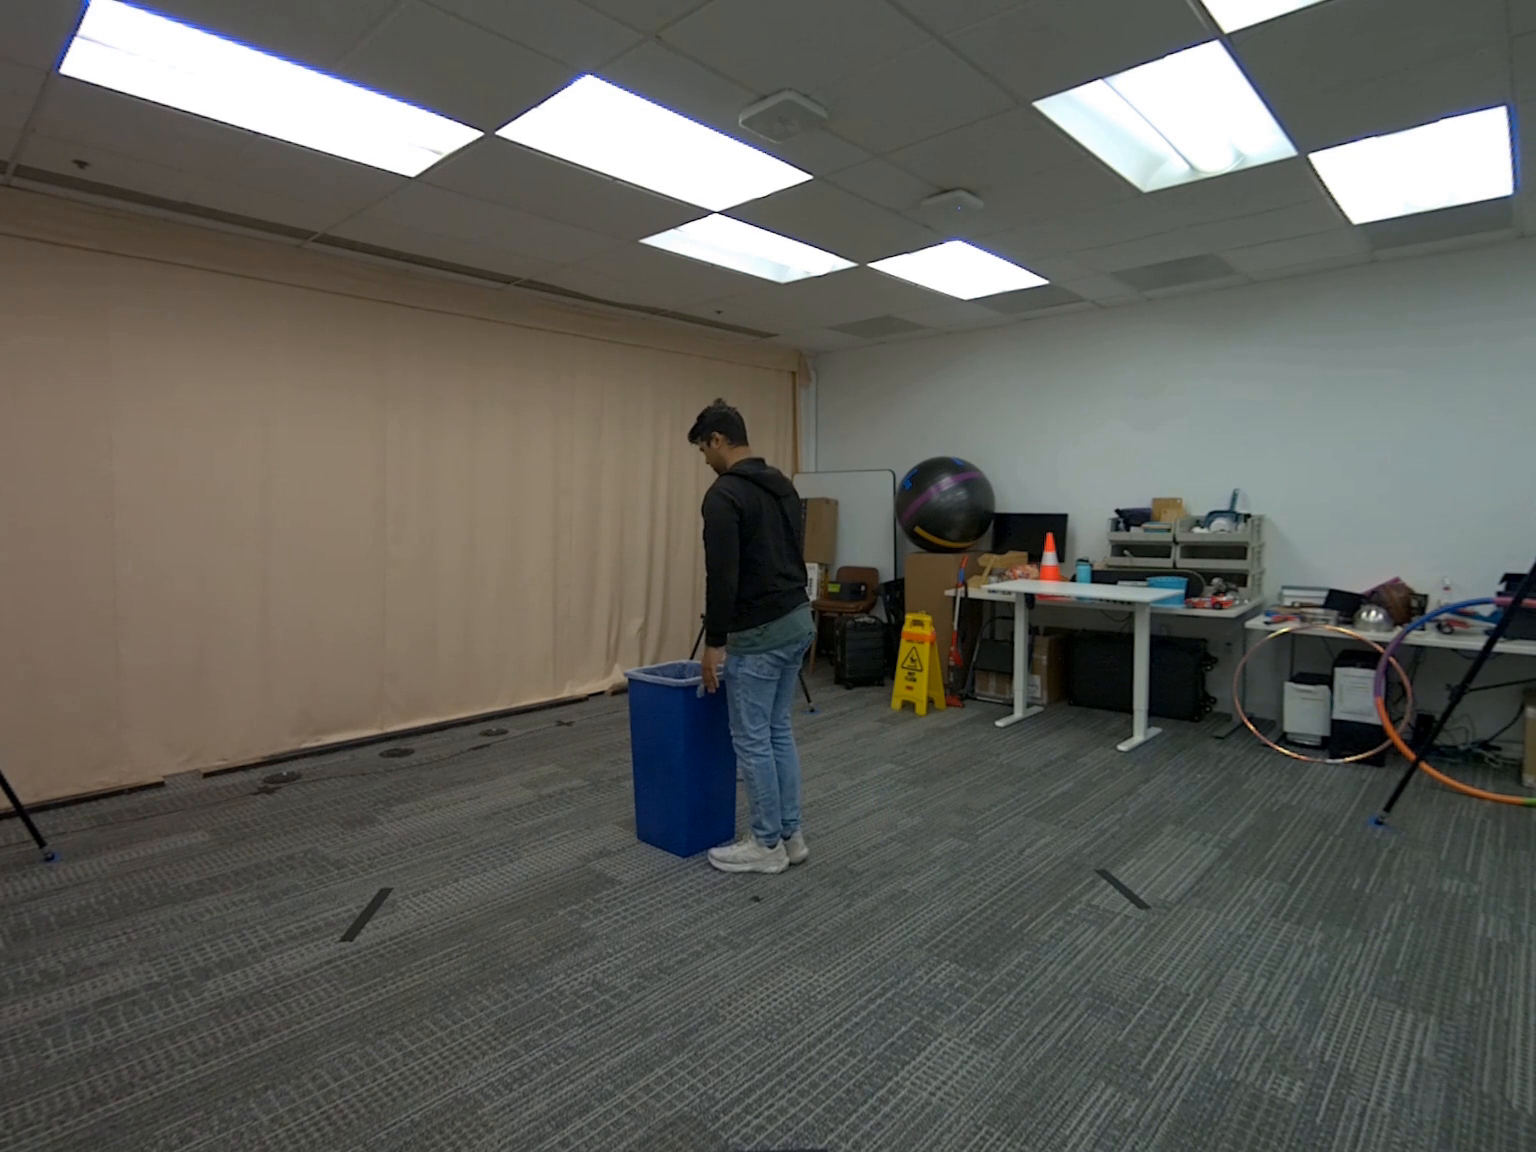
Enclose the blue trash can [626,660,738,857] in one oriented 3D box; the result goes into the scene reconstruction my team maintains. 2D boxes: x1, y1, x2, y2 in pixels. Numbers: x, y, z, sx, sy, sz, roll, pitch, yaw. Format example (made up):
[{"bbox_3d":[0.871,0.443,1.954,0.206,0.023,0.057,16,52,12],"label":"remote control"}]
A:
[{"bbox_3d":[-0.354,0.744,3.526,0.386,0.712,0.366,2,3,42],"label":"blue trash can"}]
